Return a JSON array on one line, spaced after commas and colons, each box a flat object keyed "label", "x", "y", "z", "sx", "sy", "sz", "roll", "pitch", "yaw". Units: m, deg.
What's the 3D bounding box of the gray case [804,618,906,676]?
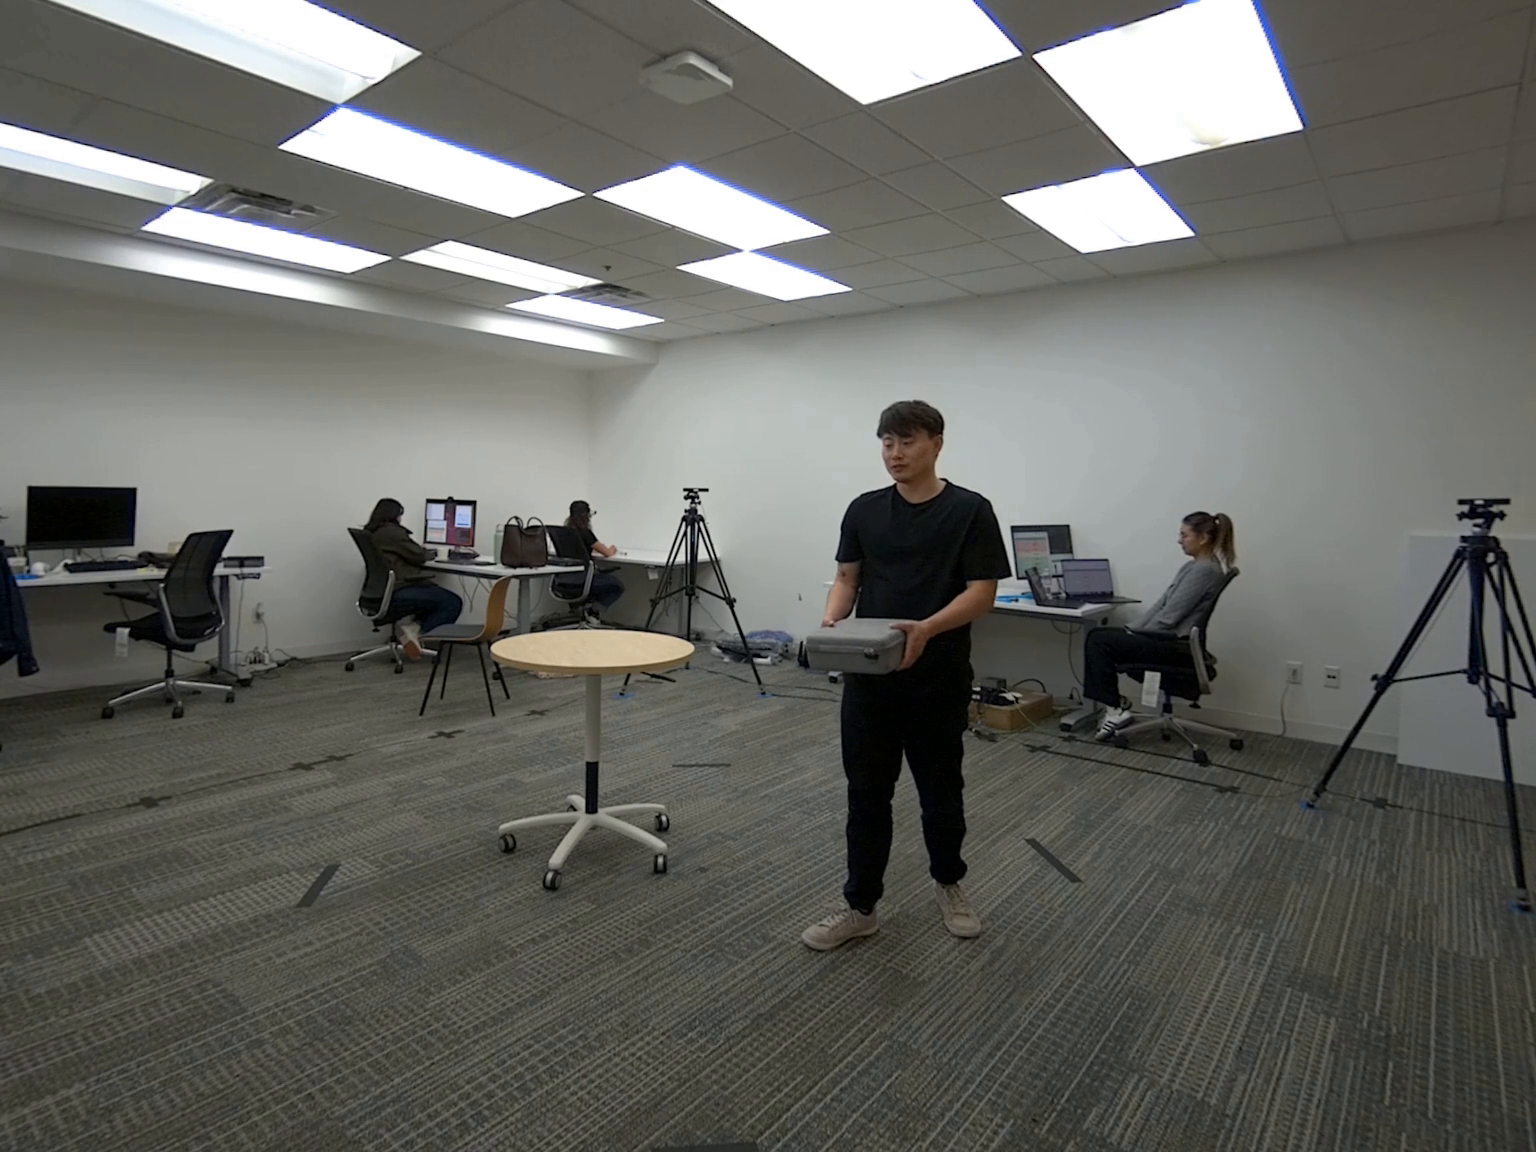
[{"label": "gray case", "x": 0.264, "y": 0.194, "z": 2.431, "sx": 0.264, "sy": 0.104, "sz": 0.254, "roll": -2, "pitch": 7, "yaw": 36}]
